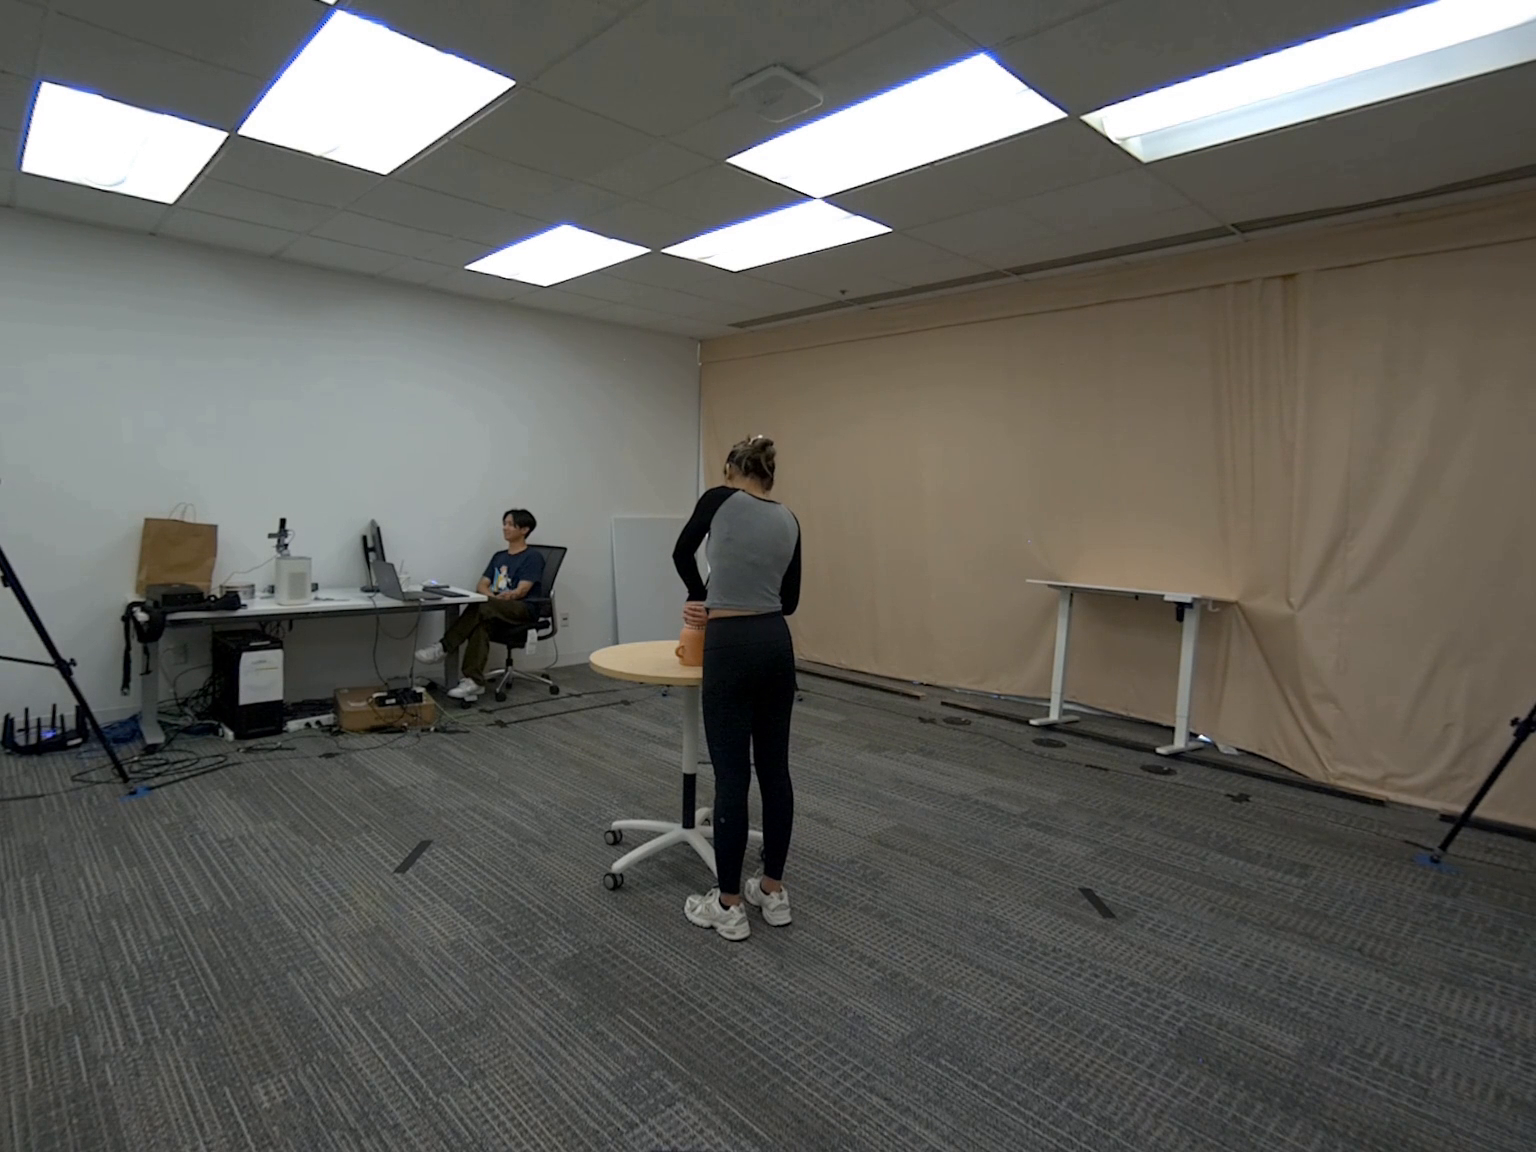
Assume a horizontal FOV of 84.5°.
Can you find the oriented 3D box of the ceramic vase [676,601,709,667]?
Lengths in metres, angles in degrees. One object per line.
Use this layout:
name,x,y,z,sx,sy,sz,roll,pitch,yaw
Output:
ceramic vase,-0.259,0.209,3.042,0.135,0.220,0.158,2,1,4
